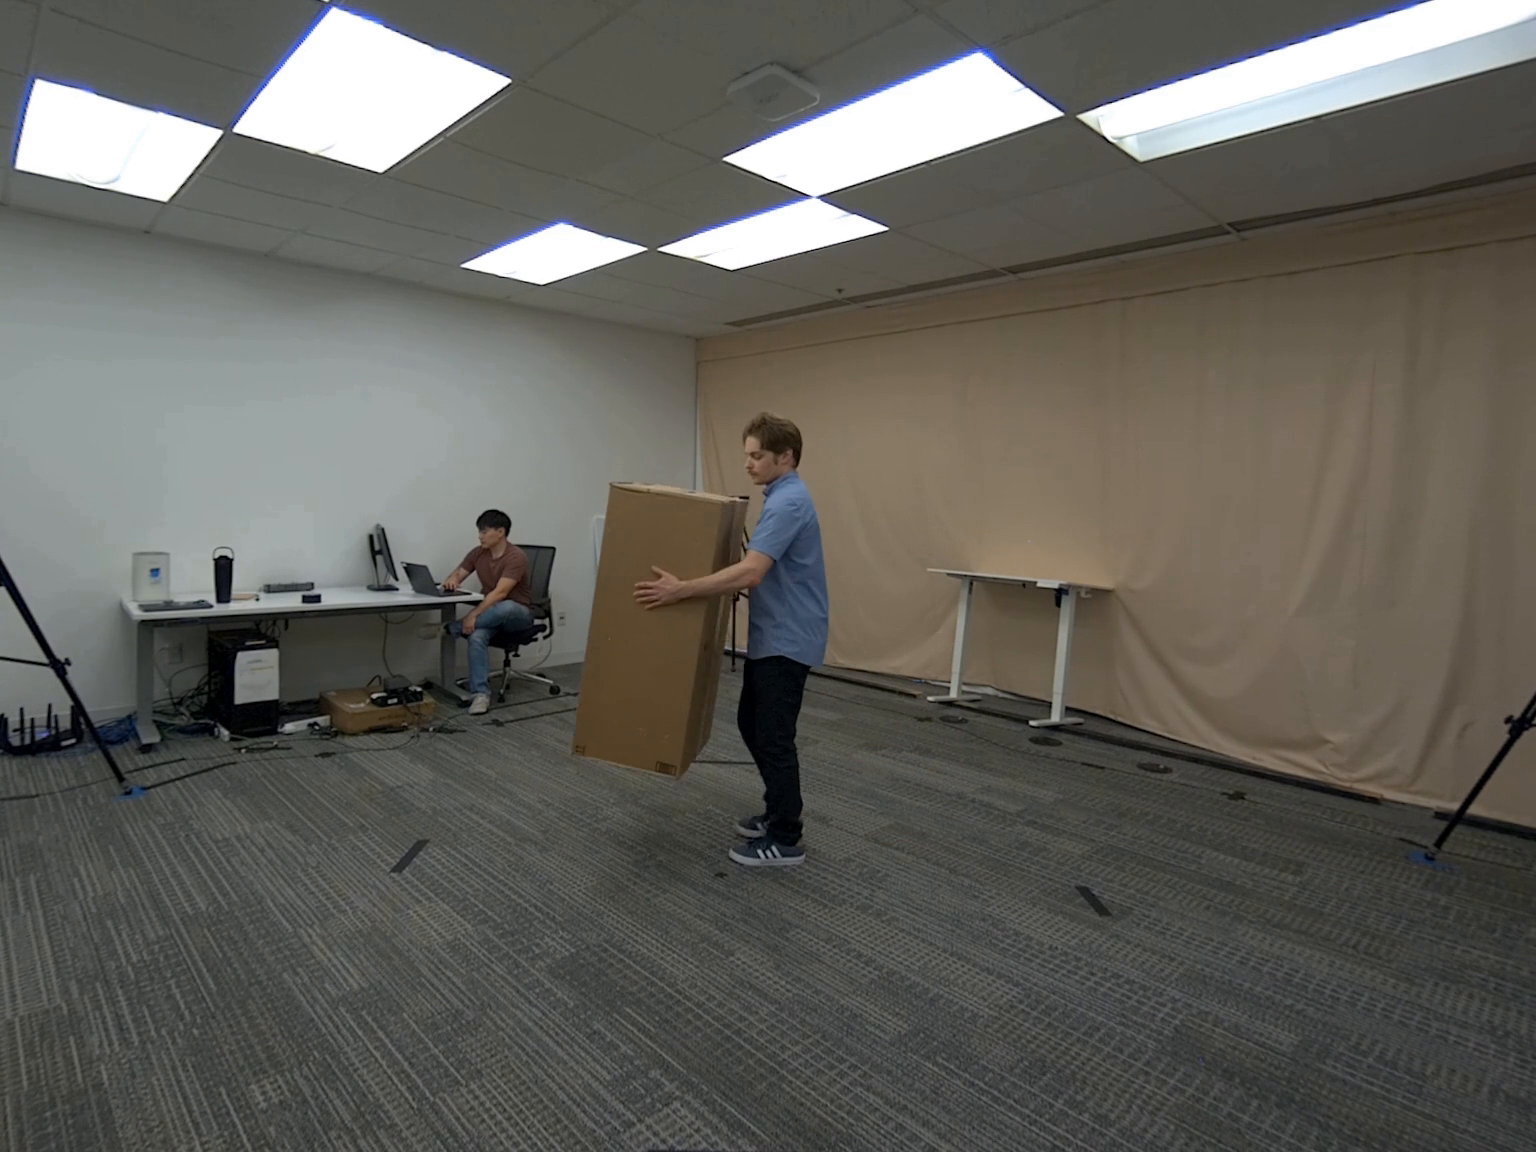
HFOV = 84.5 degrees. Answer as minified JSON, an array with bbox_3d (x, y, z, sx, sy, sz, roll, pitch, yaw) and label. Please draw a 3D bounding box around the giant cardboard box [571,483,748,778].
[{"bbox_3d":[-0.405,0.177,3.301,0.430,1.022,0.574,10,5,8],"label":"giant cardboard box"}]
